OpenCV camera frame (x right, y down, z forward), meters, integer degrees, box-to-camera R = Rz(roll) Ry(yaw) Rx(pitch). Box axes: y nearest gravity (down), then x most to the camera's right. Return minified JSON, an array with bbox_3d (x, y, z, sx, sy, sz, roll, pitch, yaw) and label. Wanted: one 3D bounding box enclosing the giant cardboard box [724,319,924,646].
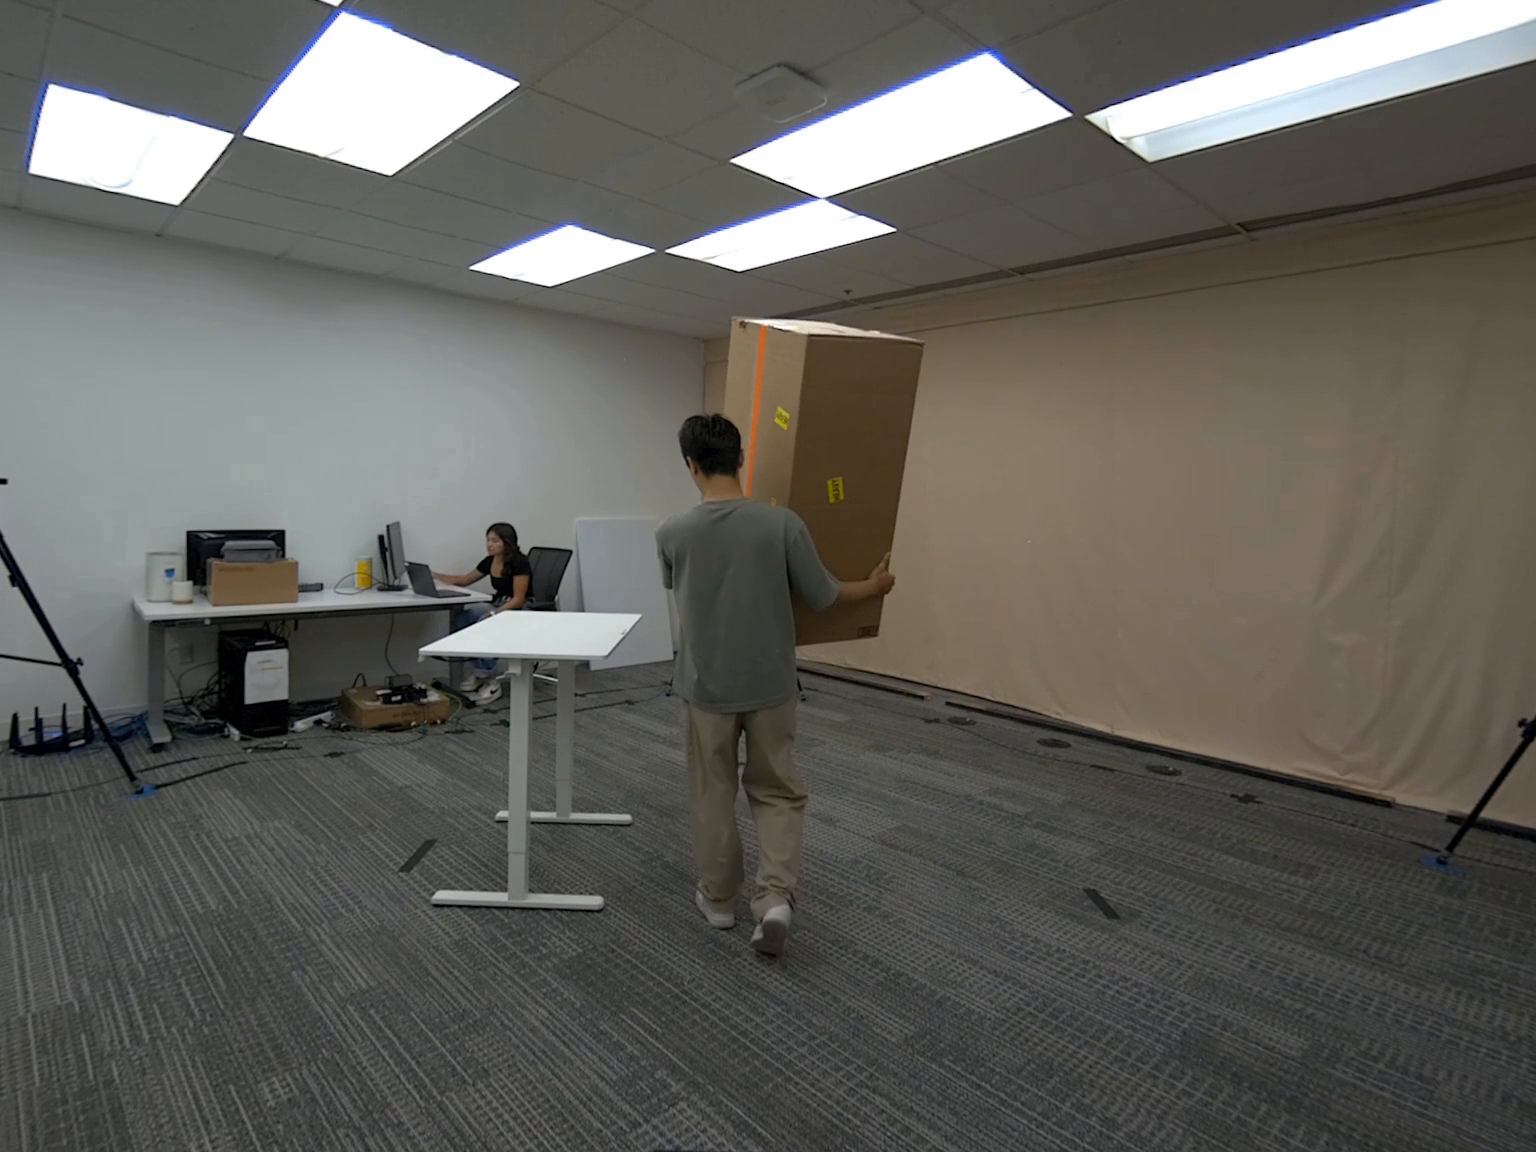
[{"bbox_3d":[0.124,-0.340,2.947,0.419,1.014,0.594,-3,21,-26],"label":"giant cardboard box"}]
